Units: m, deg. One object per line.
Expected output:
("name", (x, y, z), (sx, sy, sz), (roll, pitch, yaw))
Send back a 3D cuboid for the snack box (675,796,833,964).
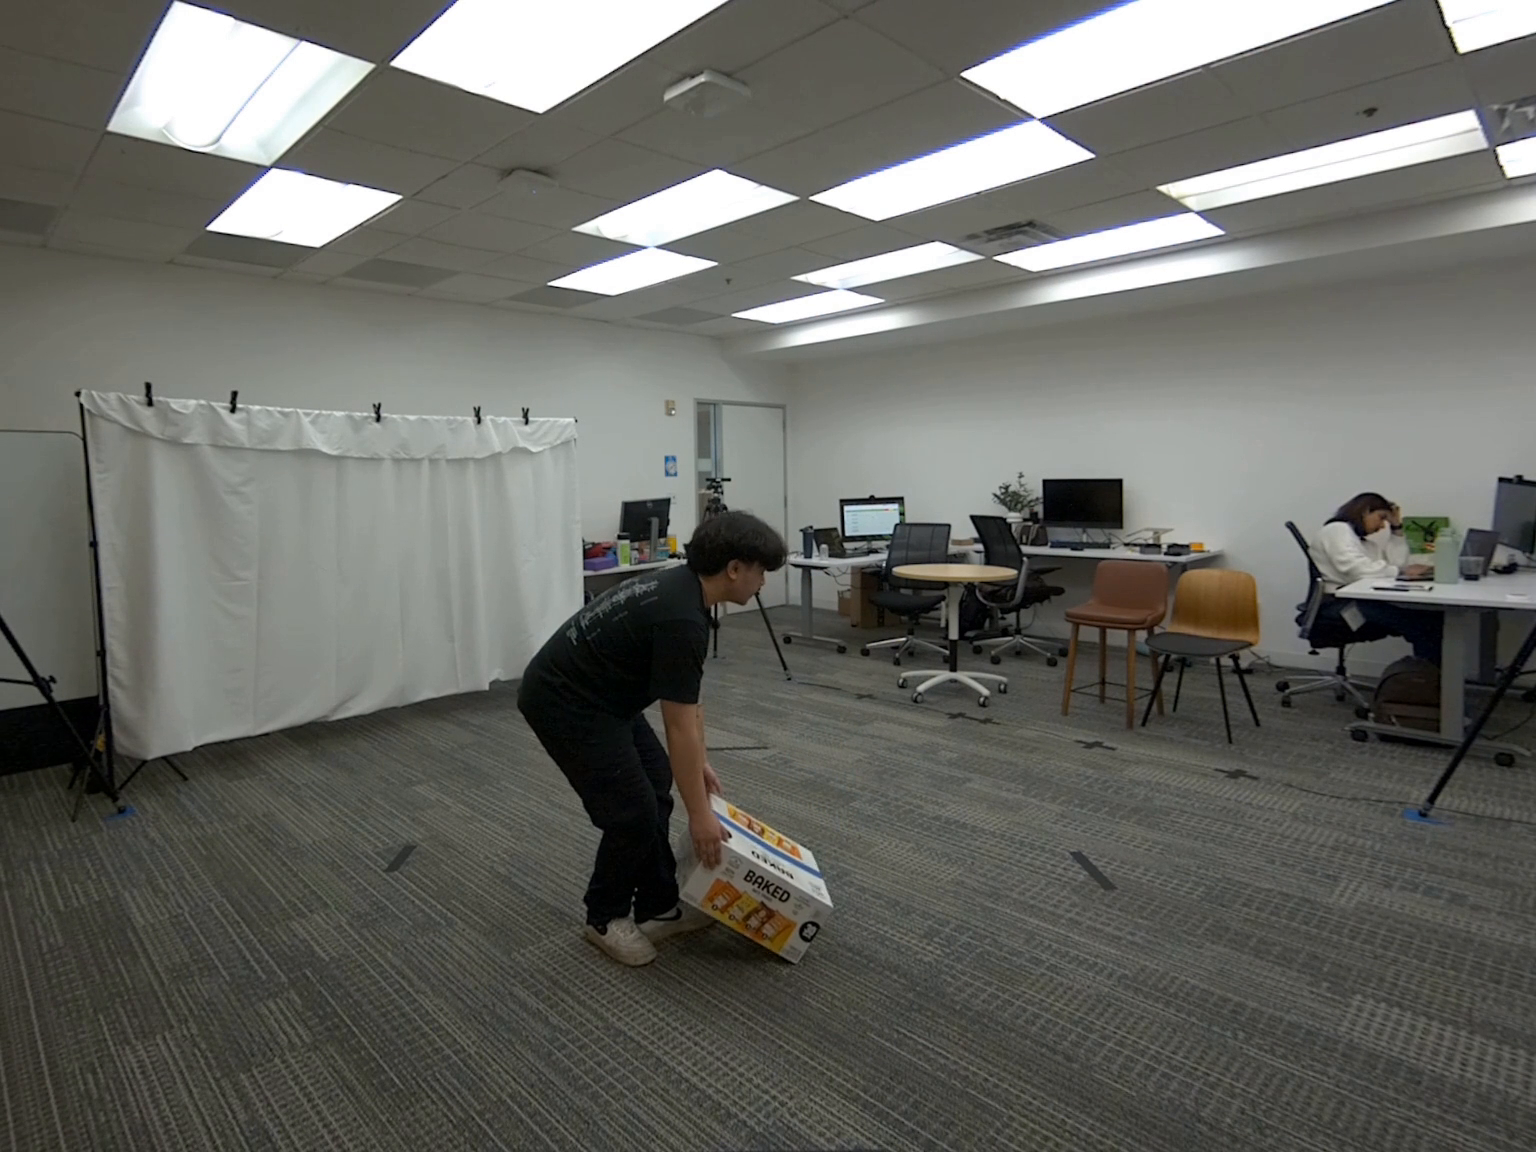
("snack box", (-0.050, 0.903, 2.589), (0.401, 0.205, 0.344), (32, 2, -9))
